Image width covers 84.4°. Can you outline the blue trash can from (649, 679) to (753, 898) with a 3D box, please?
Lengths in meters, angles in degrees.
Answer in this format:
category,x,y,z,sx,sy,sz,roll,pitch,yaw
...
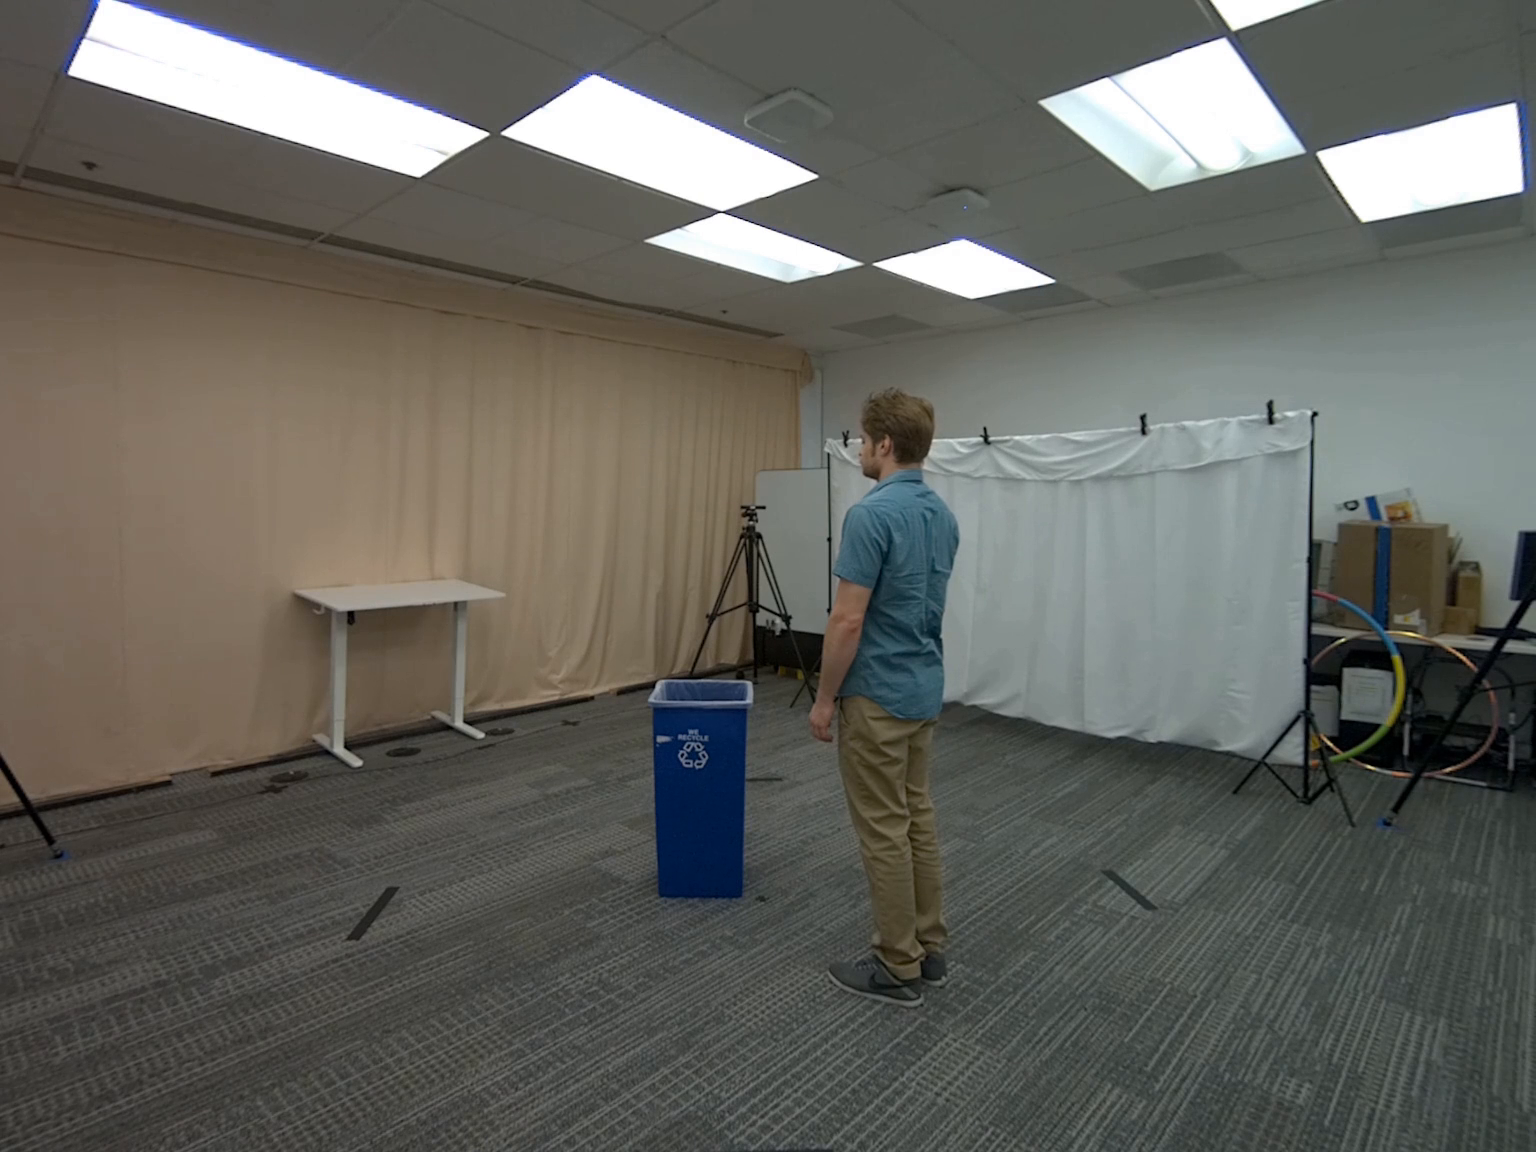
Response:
category,x,y,z,sx,sy,sz,roll,pitch,yaw
blue trash can,-0.241,0.779,3.112,0.378,0.712,0.374,0,3,0
